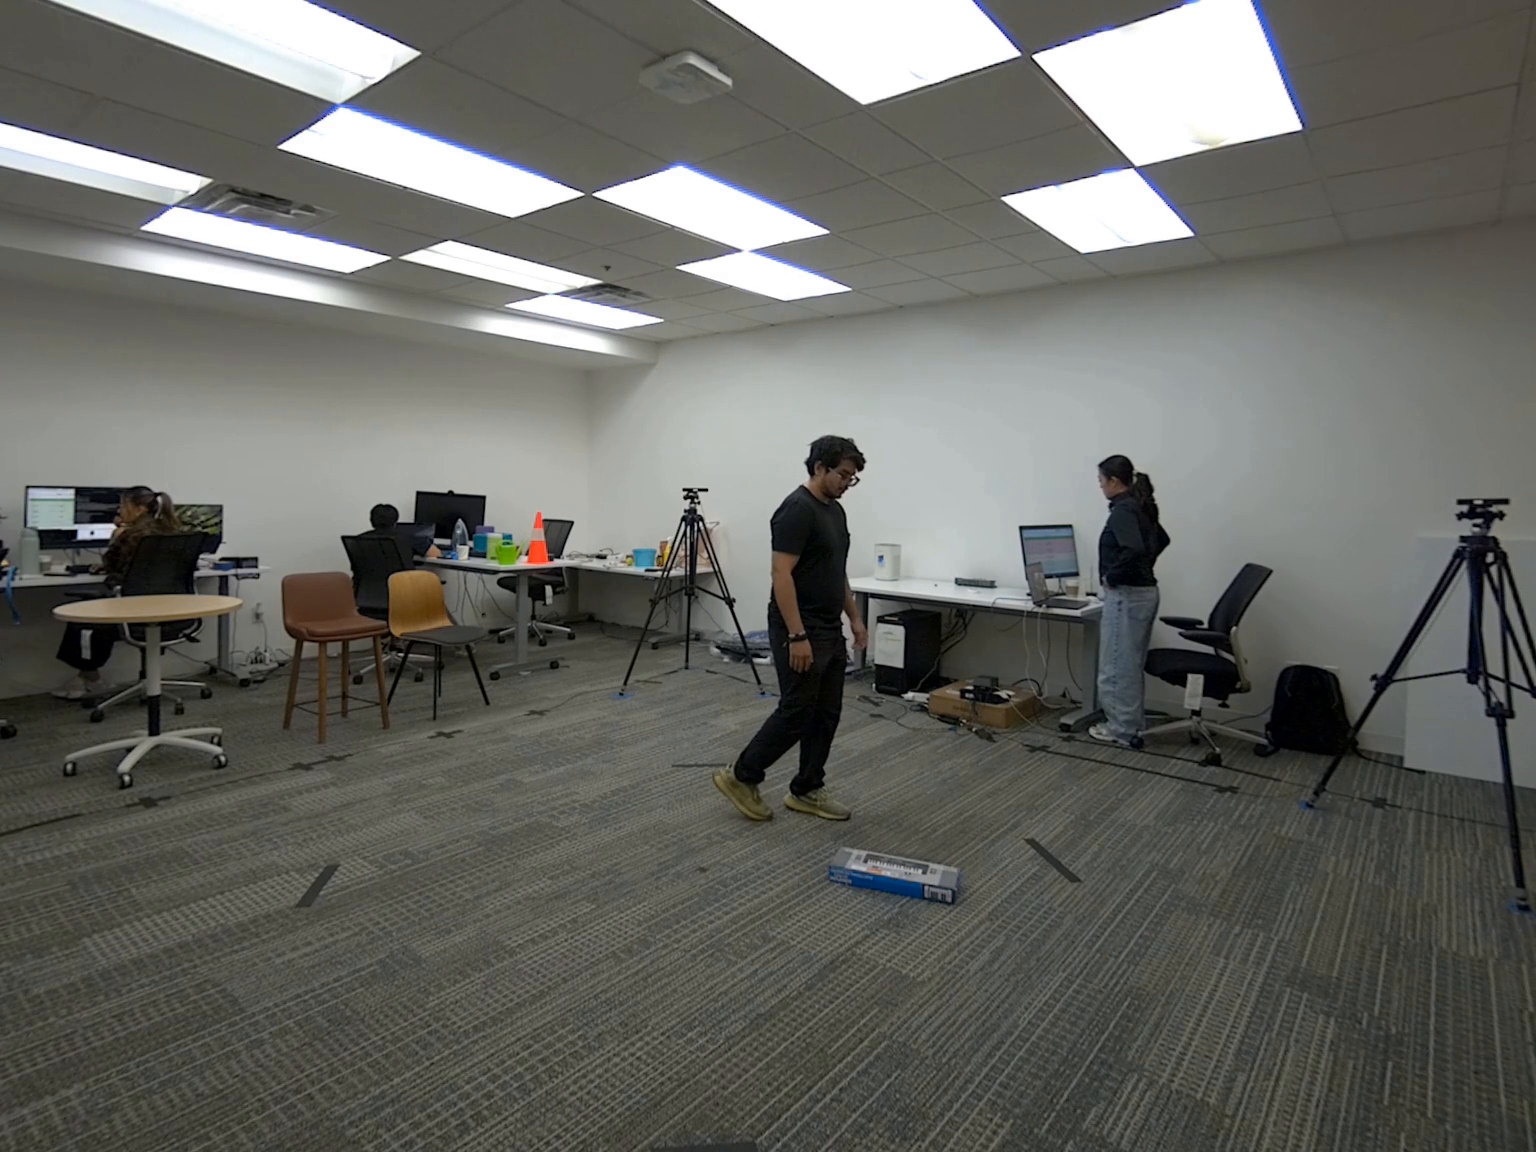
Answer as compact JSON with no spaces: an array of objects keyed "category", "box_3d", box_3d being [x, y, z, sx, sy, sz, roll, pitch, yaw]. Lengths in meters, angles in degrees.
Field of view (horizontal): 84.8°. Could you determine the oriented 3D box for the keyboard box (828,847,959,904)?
[{"category":"keyboard box","box_3d":[0.445,1.060,3.035,0.447,0.059,0.173,3,6,21]}]
